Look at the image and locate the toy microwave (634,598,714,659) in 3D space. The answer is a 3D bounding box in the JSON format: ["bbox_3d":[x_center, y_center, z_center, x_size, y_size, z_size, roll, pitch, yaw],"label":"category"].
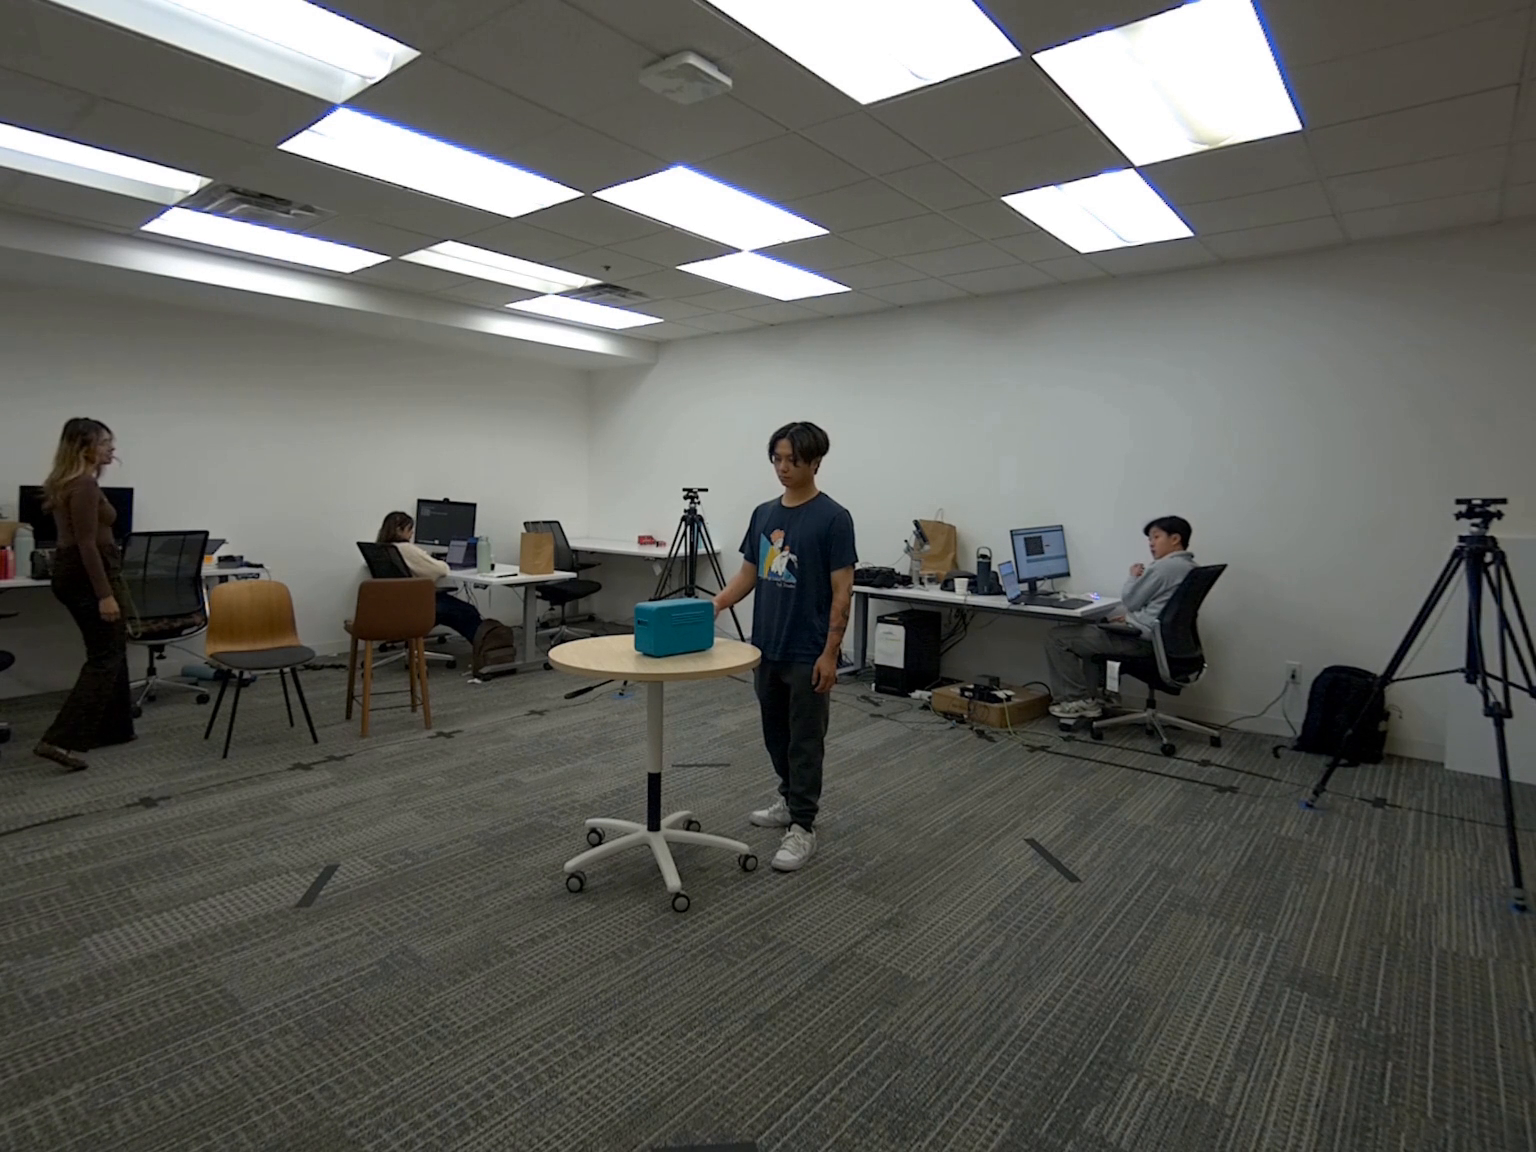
[{"bbox_3d":[-0.356,0.181,3.075,0.277,0.183,0.157,-3,6,-44],"label":"toy microwave"}]
